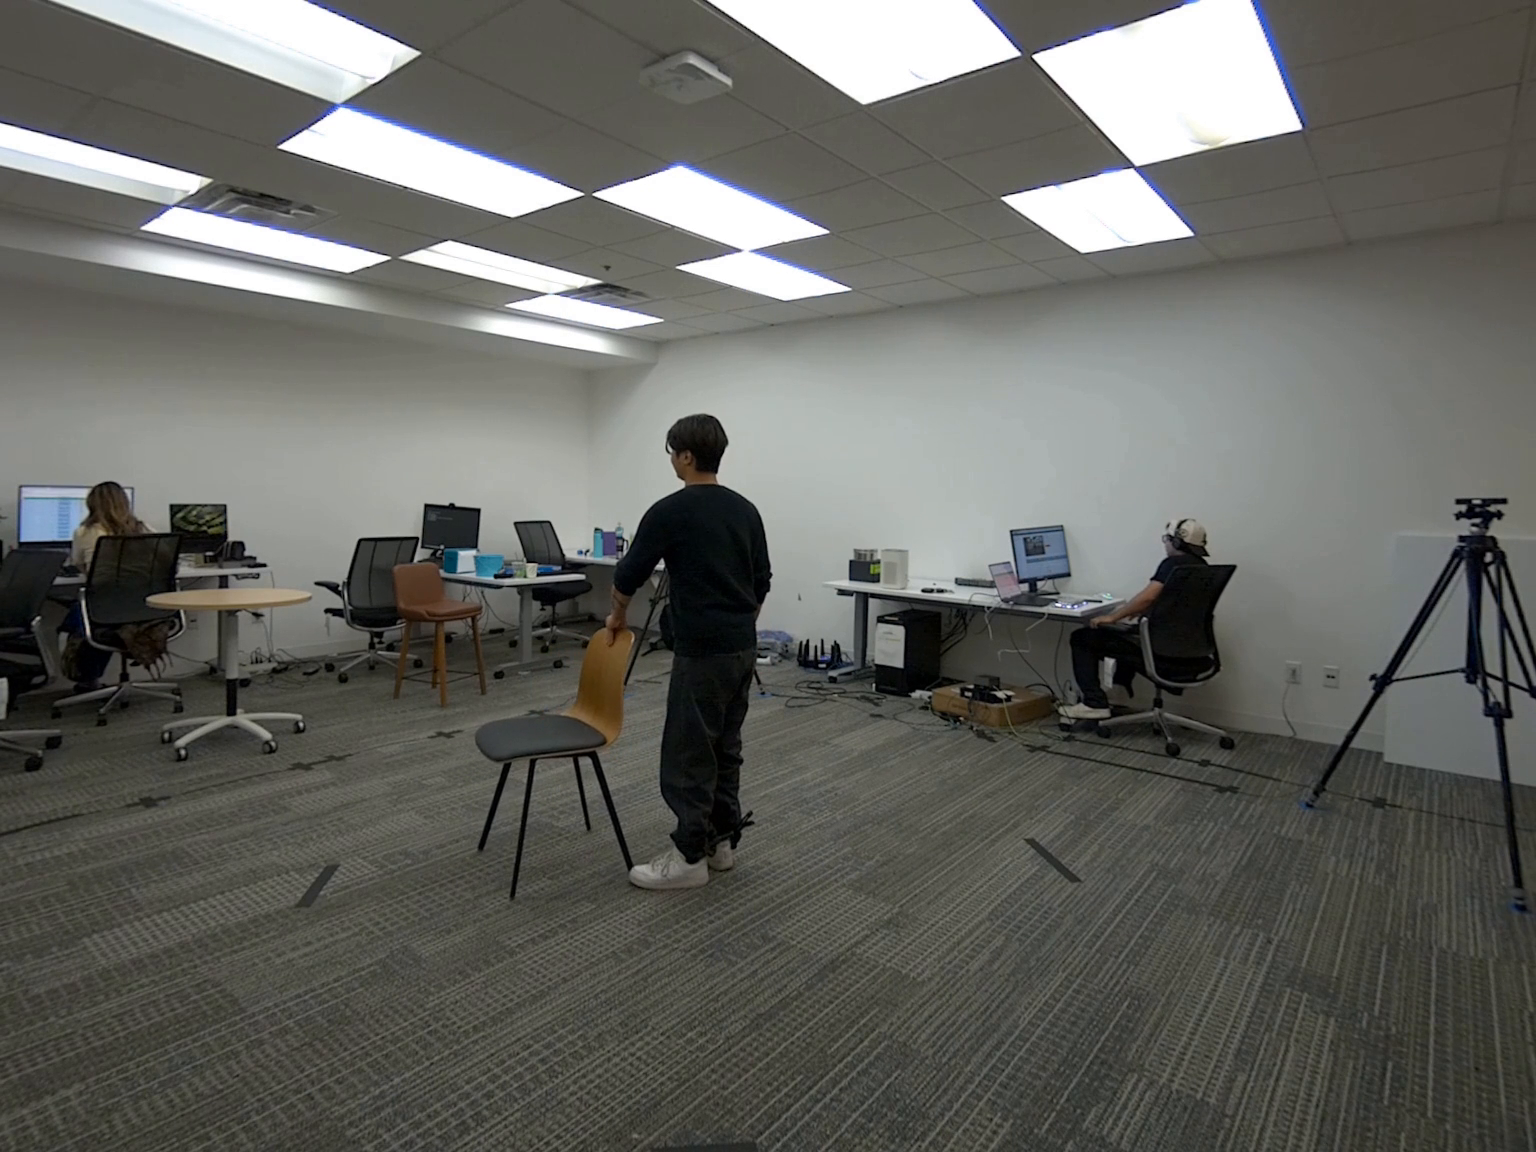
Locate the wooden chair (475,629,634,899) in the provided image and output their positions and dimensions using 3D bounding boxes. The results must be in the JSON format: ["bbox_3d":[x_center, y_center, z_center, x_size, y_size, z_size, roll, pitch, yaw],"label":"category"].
[{"bbox_3d":[-0.802,0.631,3.131,0.507,0.877,0.493,4,1,-32],"label":"wooden chair"}]
